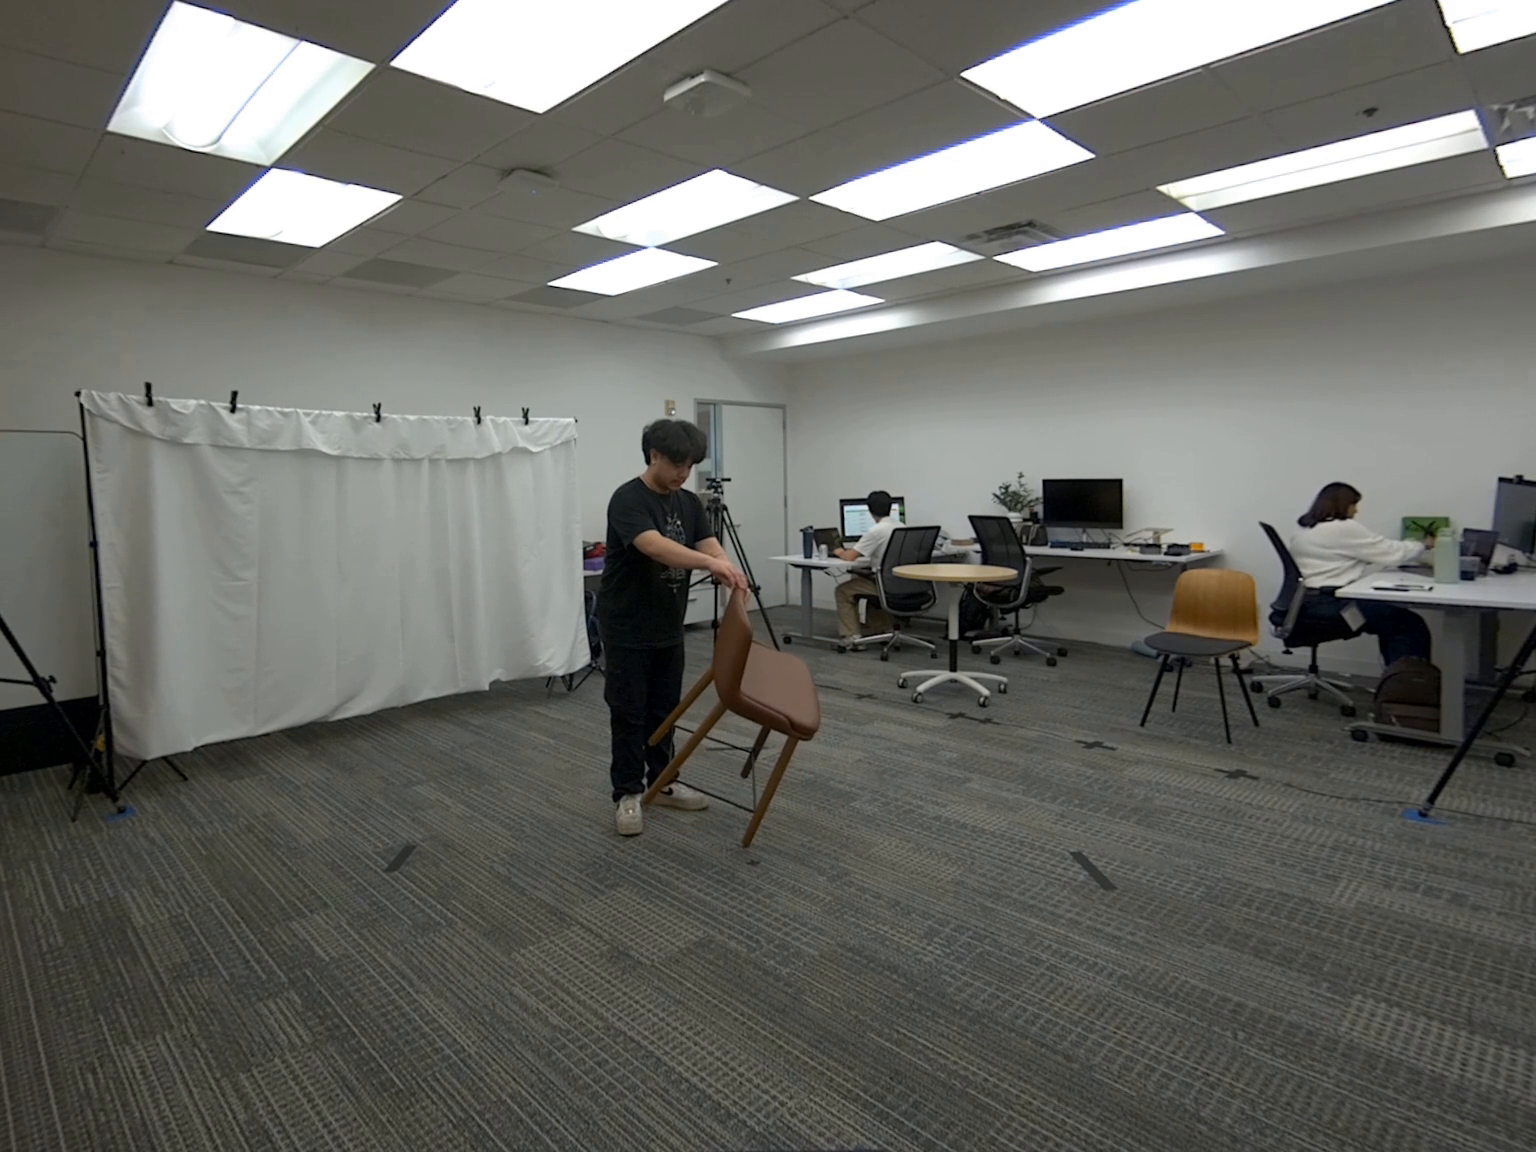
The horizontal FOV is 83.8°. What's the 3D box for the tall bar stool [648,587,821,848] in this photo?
[{"bbox_3d":[-0.085,0.503,3.211,0.461,0.883,0.467,22,23,-13],"label":"tall bar stool"}]
